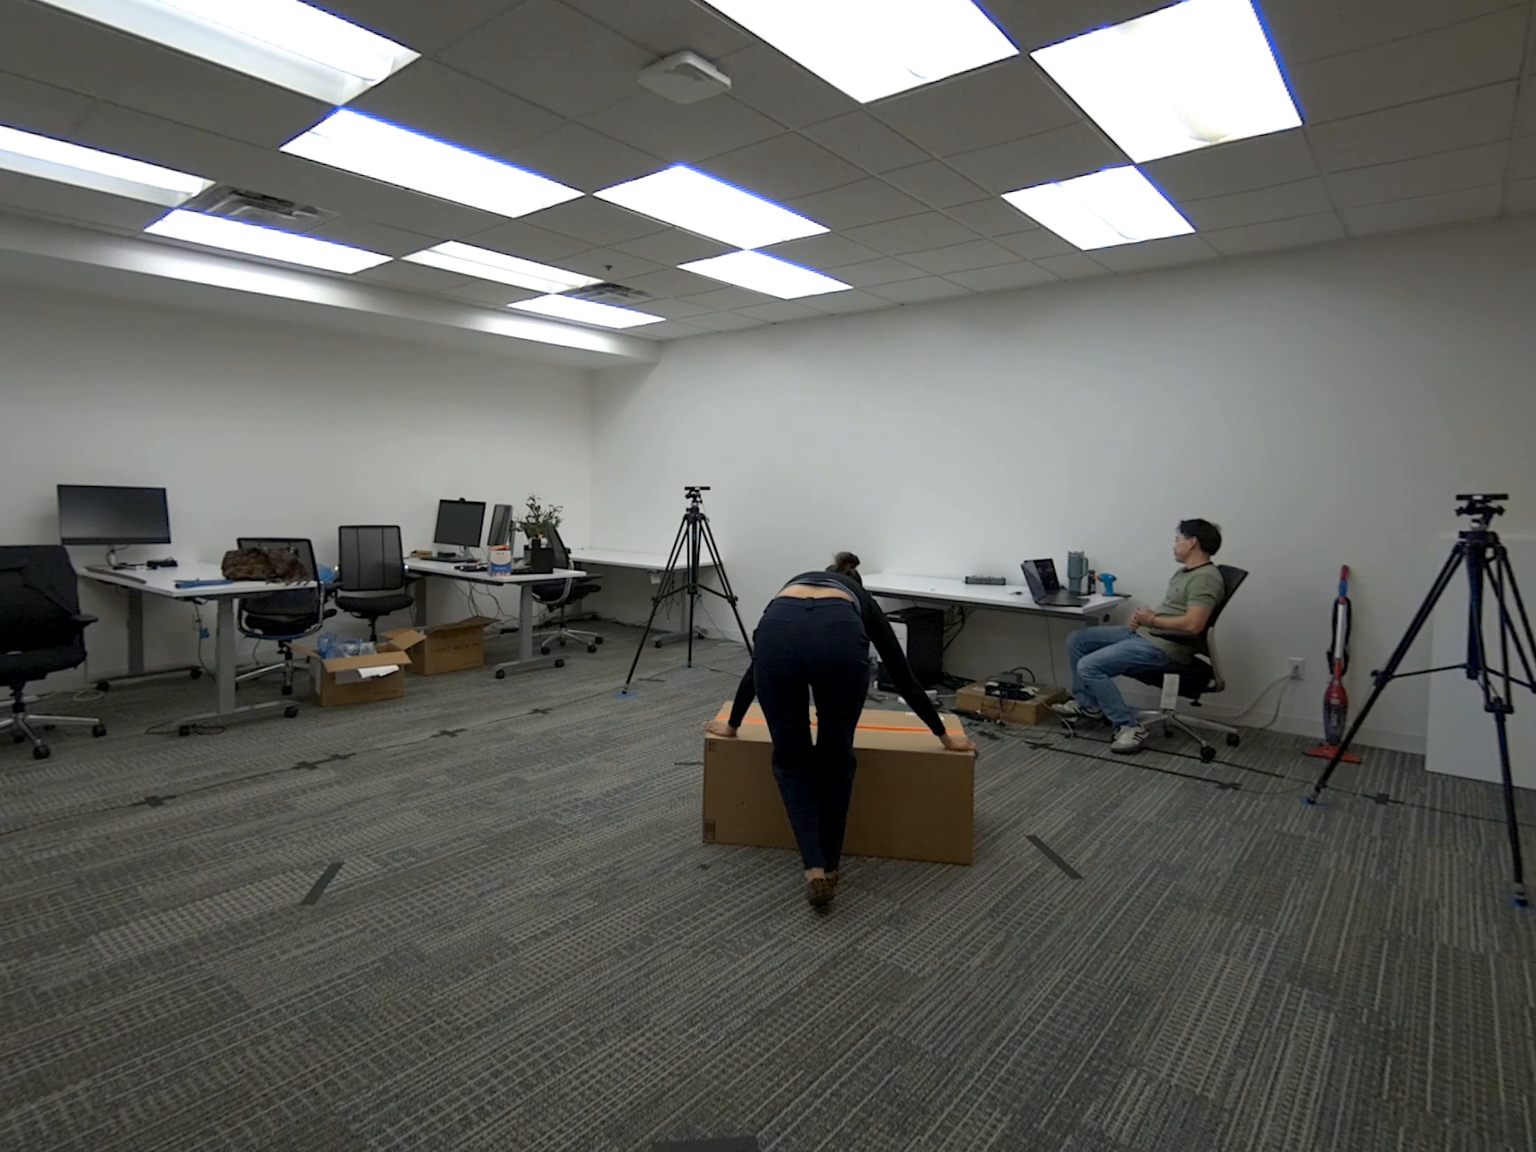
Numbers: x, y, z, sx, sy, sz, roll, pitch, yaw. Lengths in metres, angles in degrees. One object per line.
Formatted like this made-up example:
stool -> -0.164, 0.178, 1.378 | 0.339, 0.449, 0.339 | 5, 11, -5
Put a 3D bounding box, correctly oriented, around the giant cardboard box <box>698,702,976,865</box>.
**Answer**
giant cardboard box -> 0.274, 0.815, 3.519 | 1.036, 0.424, 0.574 | 1, 6, 9
